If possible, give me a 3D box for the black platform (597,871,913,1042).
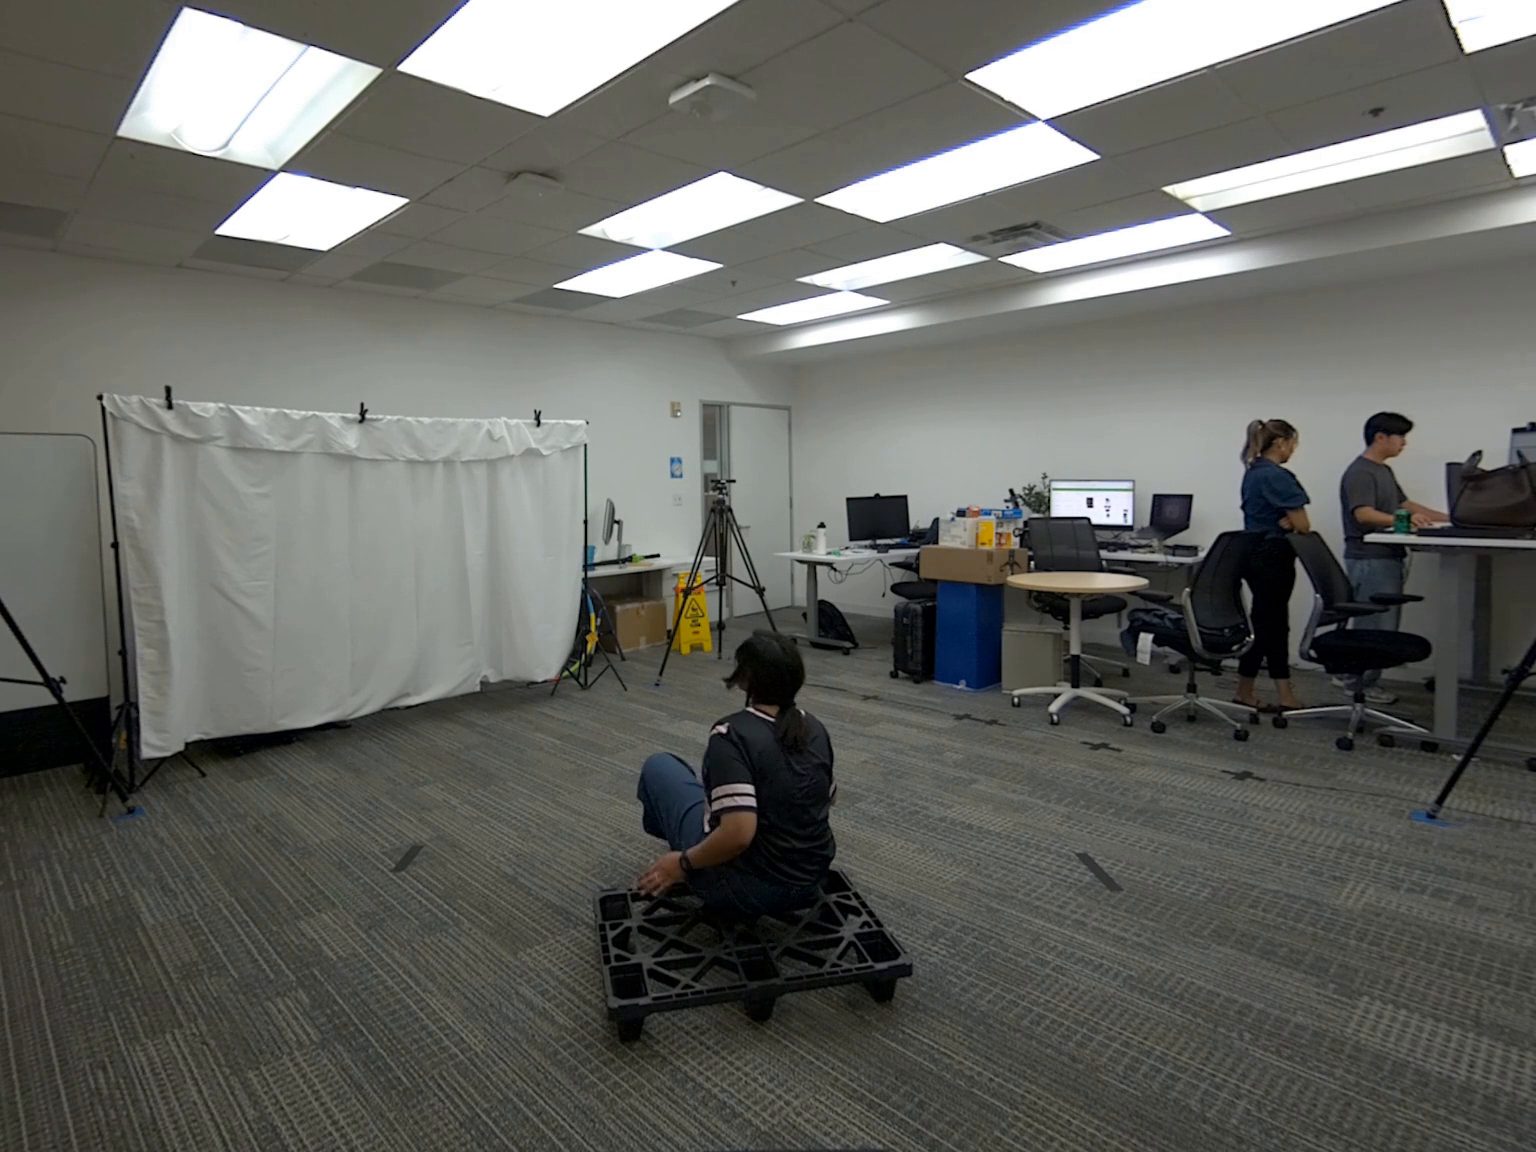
[{"bbox_3d":[-0.080,1.061,2.432,0.796,0.143,0.615,-2,6,-12],"label":"black platform"}]
